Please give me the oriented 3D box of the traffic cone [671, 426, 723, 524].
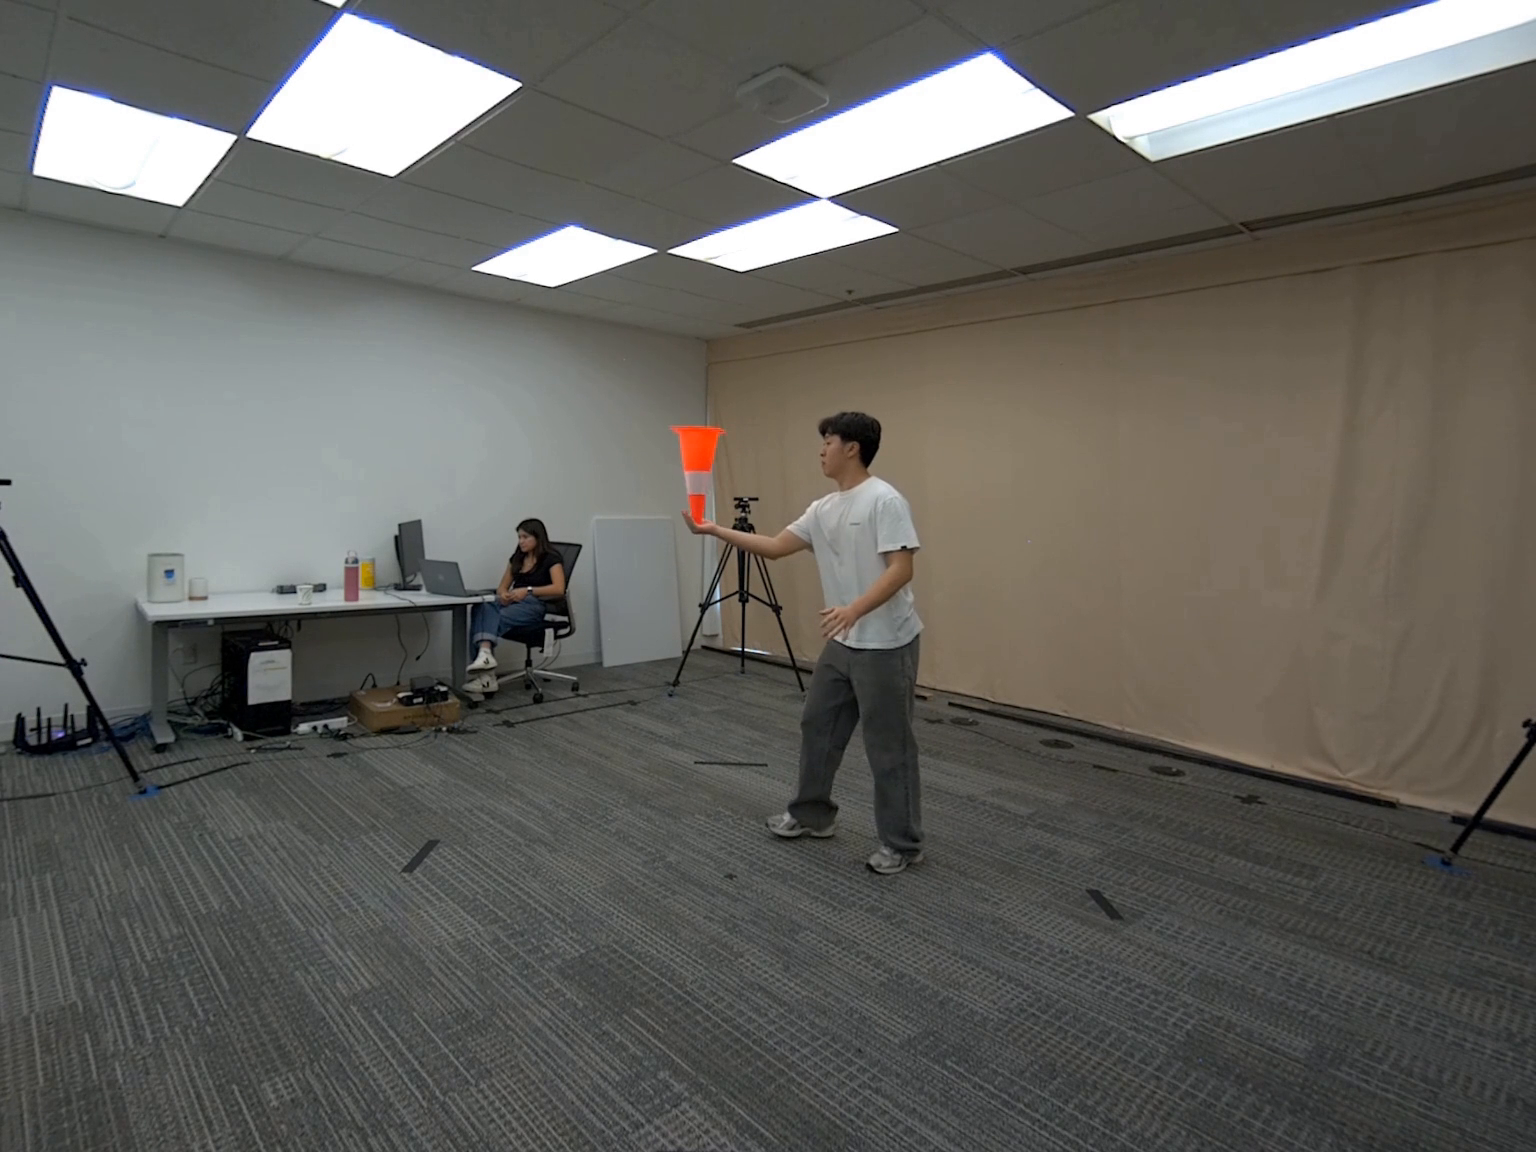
[{"bbox_3d":[-0.287,-0.382,3.328,0.207,0.384,0.201,2,0,12],"label":"traffic cone"}]
